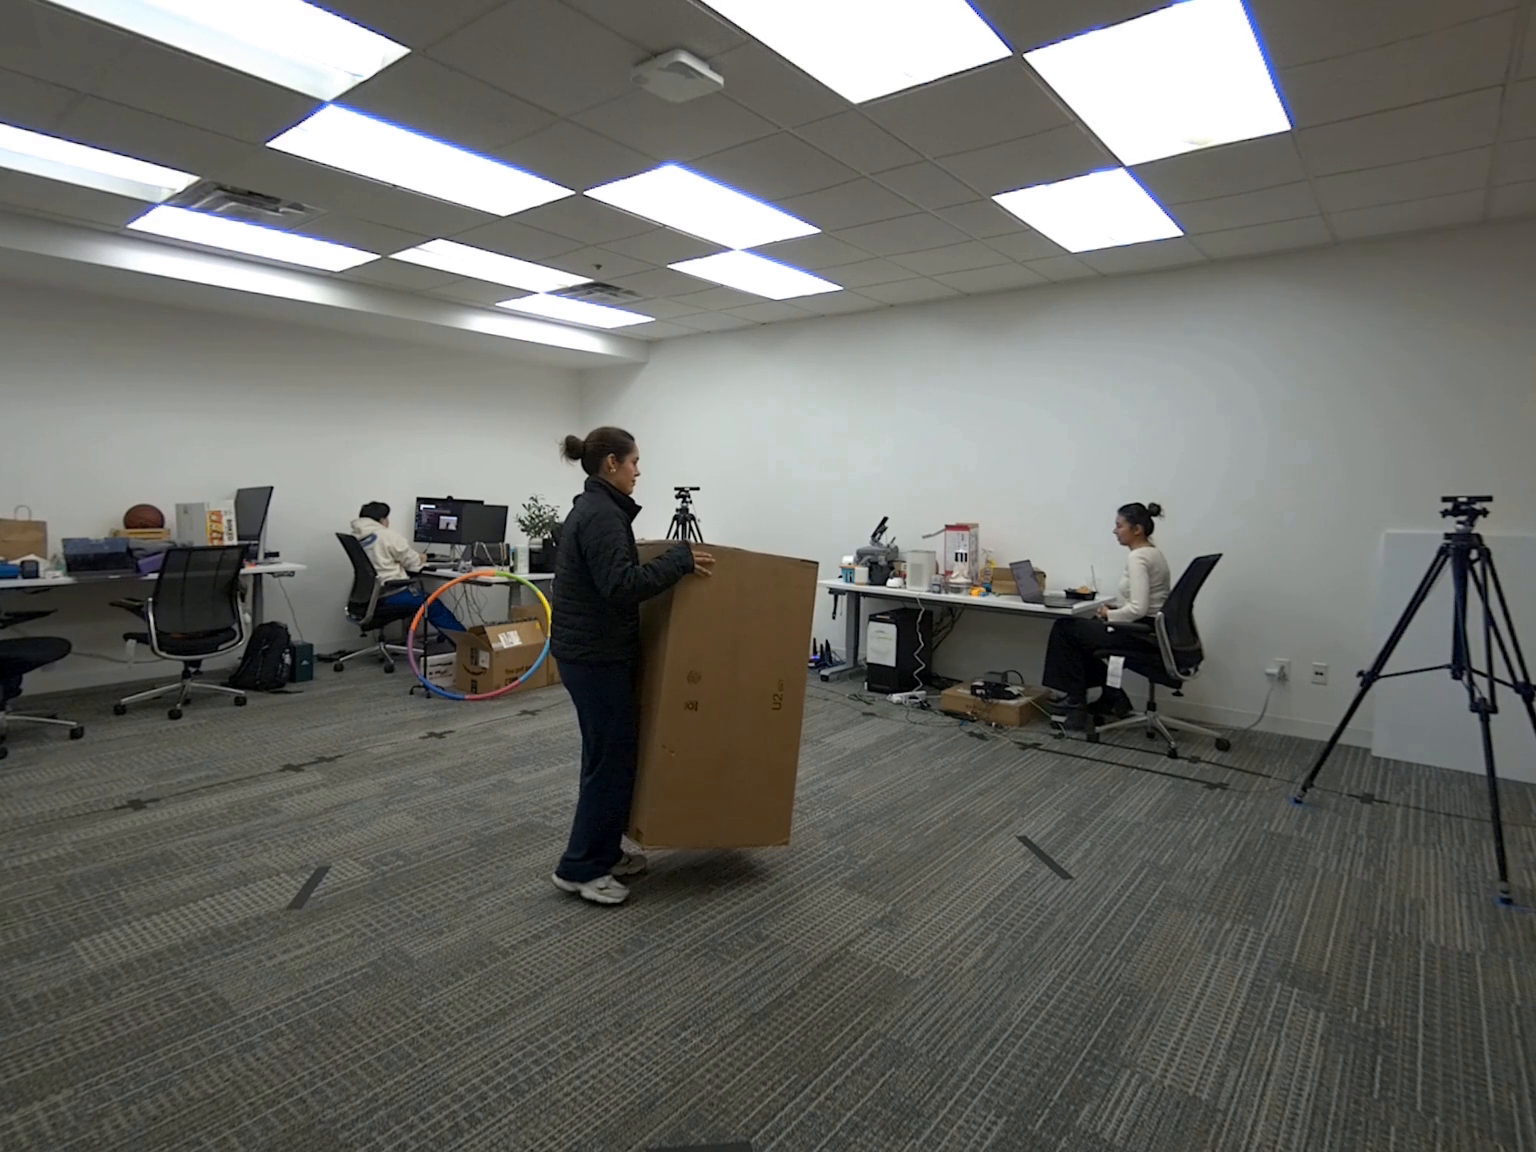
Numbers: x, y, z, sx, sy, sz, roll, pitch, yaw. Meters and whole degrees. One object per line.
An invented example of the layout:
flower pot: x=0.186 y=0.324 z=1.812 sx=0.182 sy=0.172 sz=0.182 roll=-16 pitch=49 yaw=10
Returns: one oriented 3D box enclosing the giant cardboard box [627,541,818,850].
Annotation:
giant cardboard box: x=-0.200 y=0.416 z=3.136 sx=0.561 sy=1.029 sz=0.437 roll=8 pitch=-4 yaw=-28
